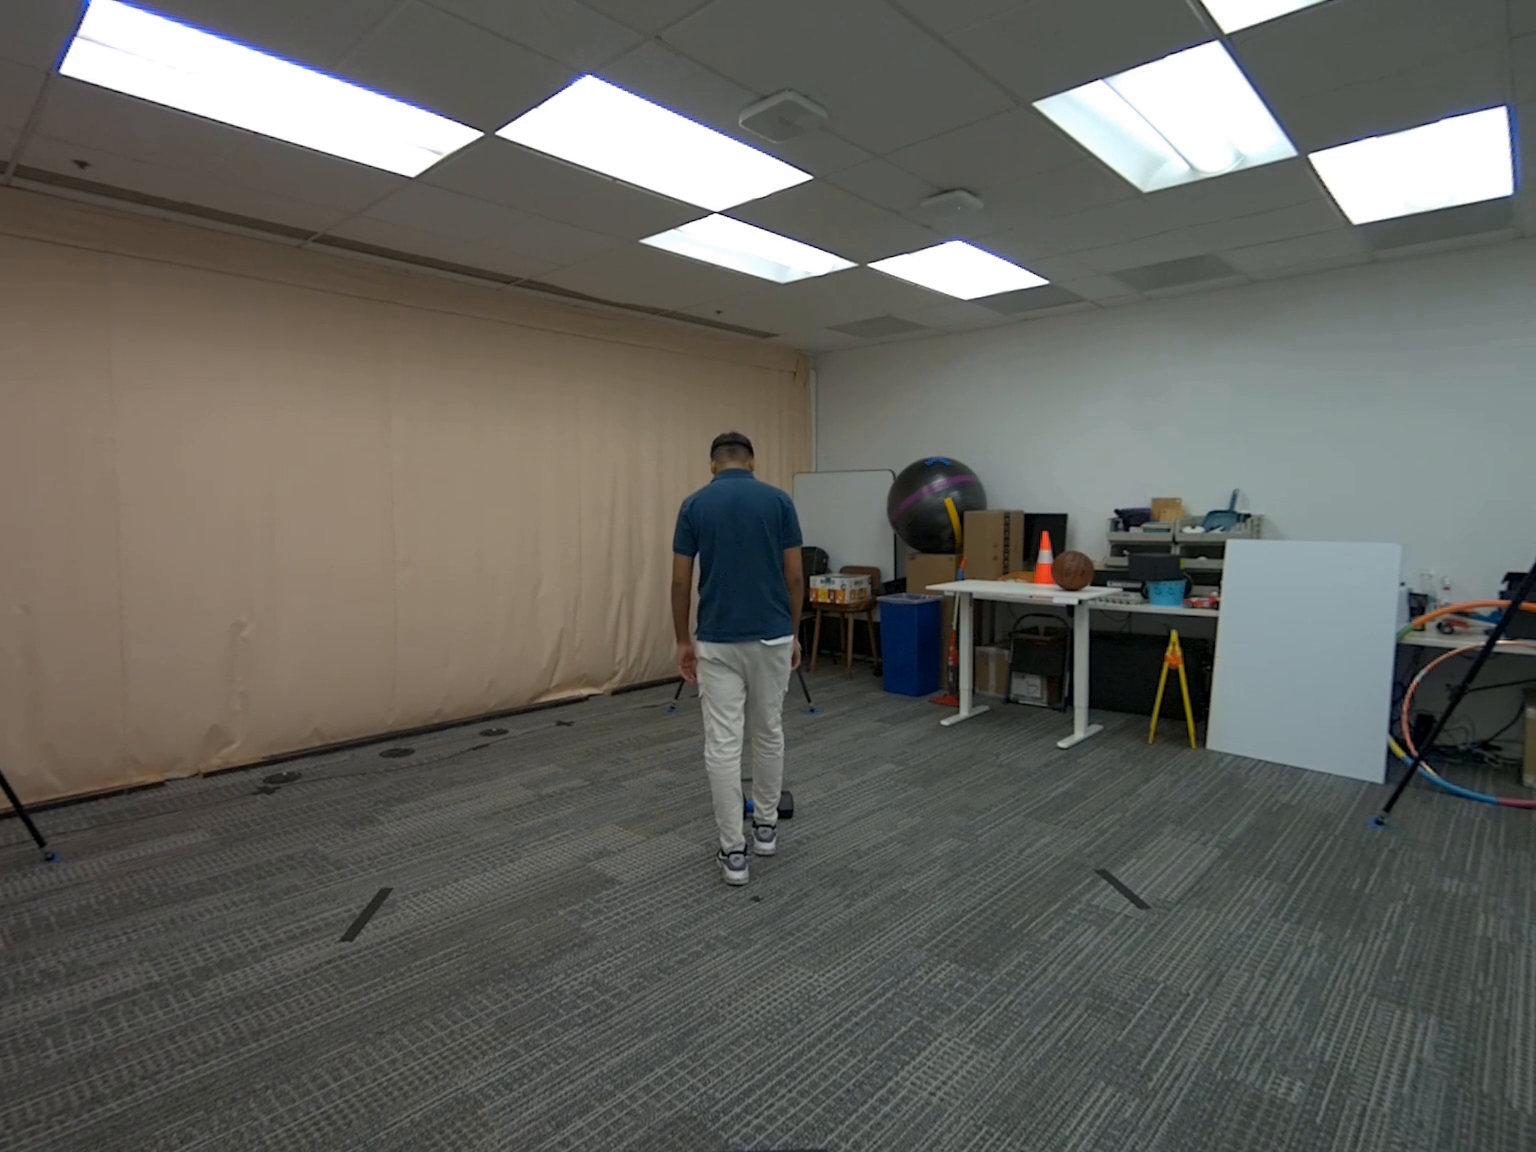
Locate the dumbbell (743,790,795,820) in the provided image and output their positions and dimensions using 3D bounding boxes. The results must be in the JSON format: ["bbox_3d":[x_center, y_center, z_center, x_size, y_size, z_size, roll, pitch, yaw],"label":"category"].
[{"bbox_3d":[-0.038,1.027,3.768,0.292,0.108,0.124,-1,3,-4],"label":"dumbbell"}]
